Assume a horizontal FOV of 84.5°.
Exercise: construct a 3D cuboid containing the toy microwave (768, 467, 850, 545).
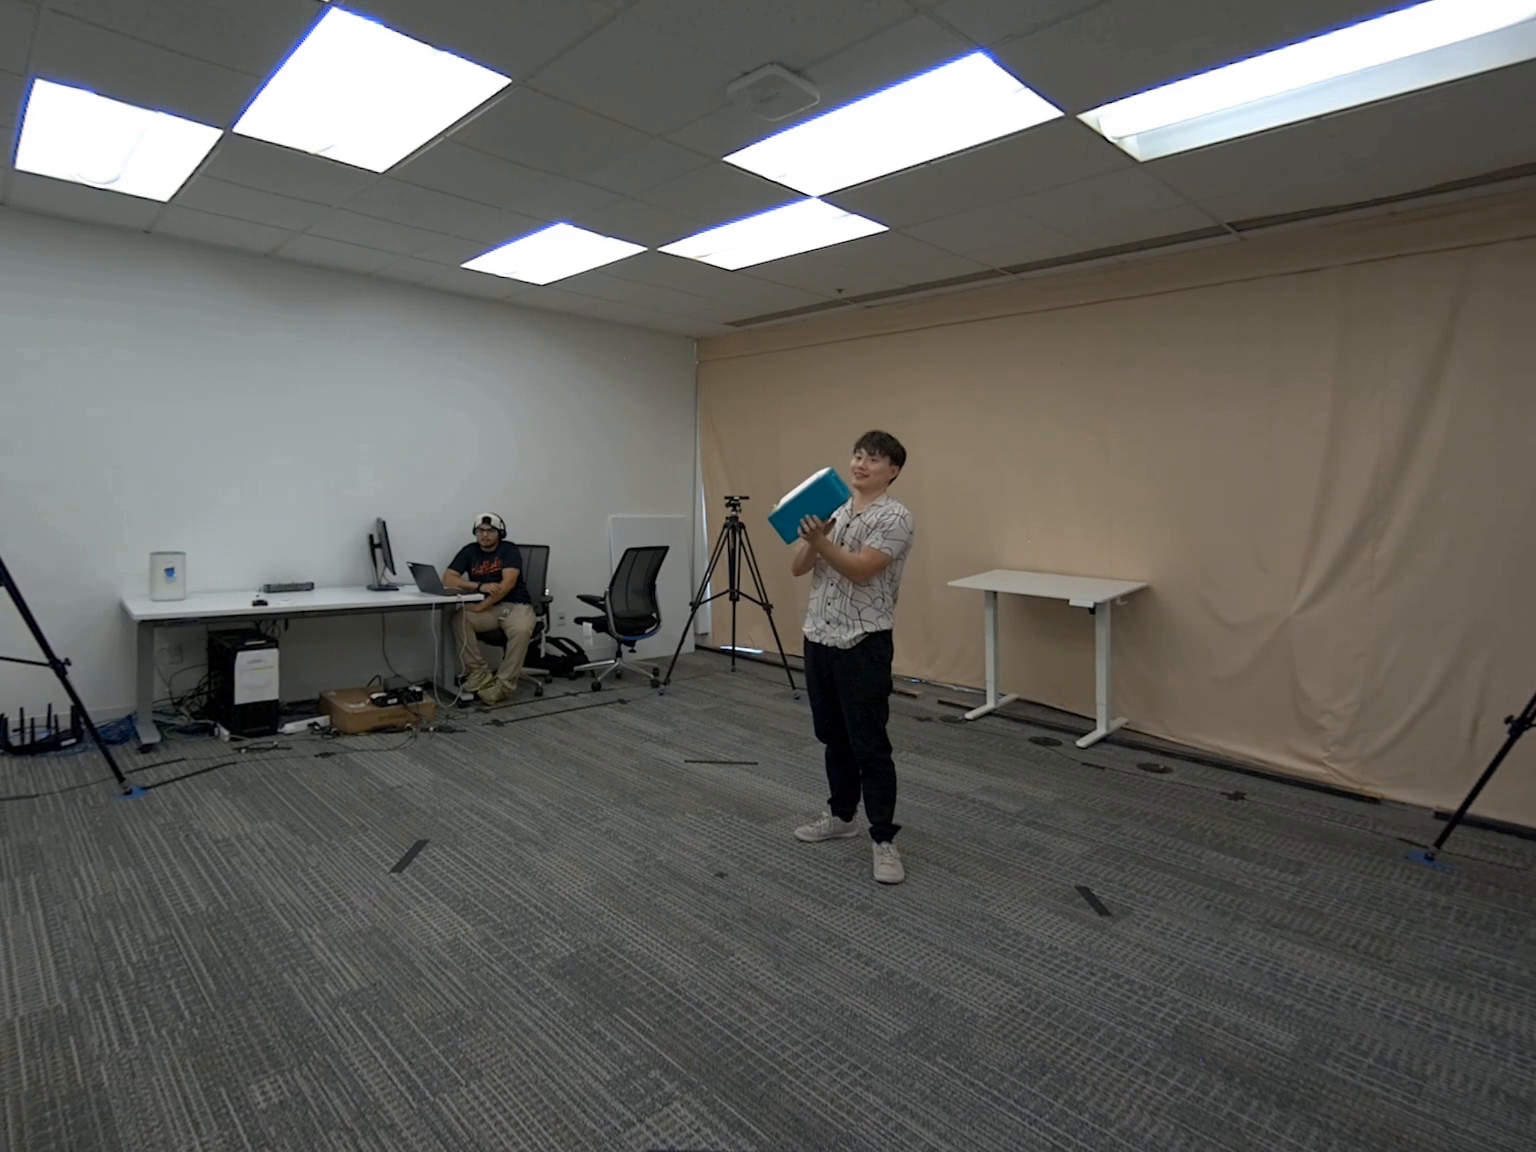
[{"bbox_3d":[0.144,-0.264,3.067,0.287,0.152,0.184,-36,5,17],"label":"toy microwave"}]
